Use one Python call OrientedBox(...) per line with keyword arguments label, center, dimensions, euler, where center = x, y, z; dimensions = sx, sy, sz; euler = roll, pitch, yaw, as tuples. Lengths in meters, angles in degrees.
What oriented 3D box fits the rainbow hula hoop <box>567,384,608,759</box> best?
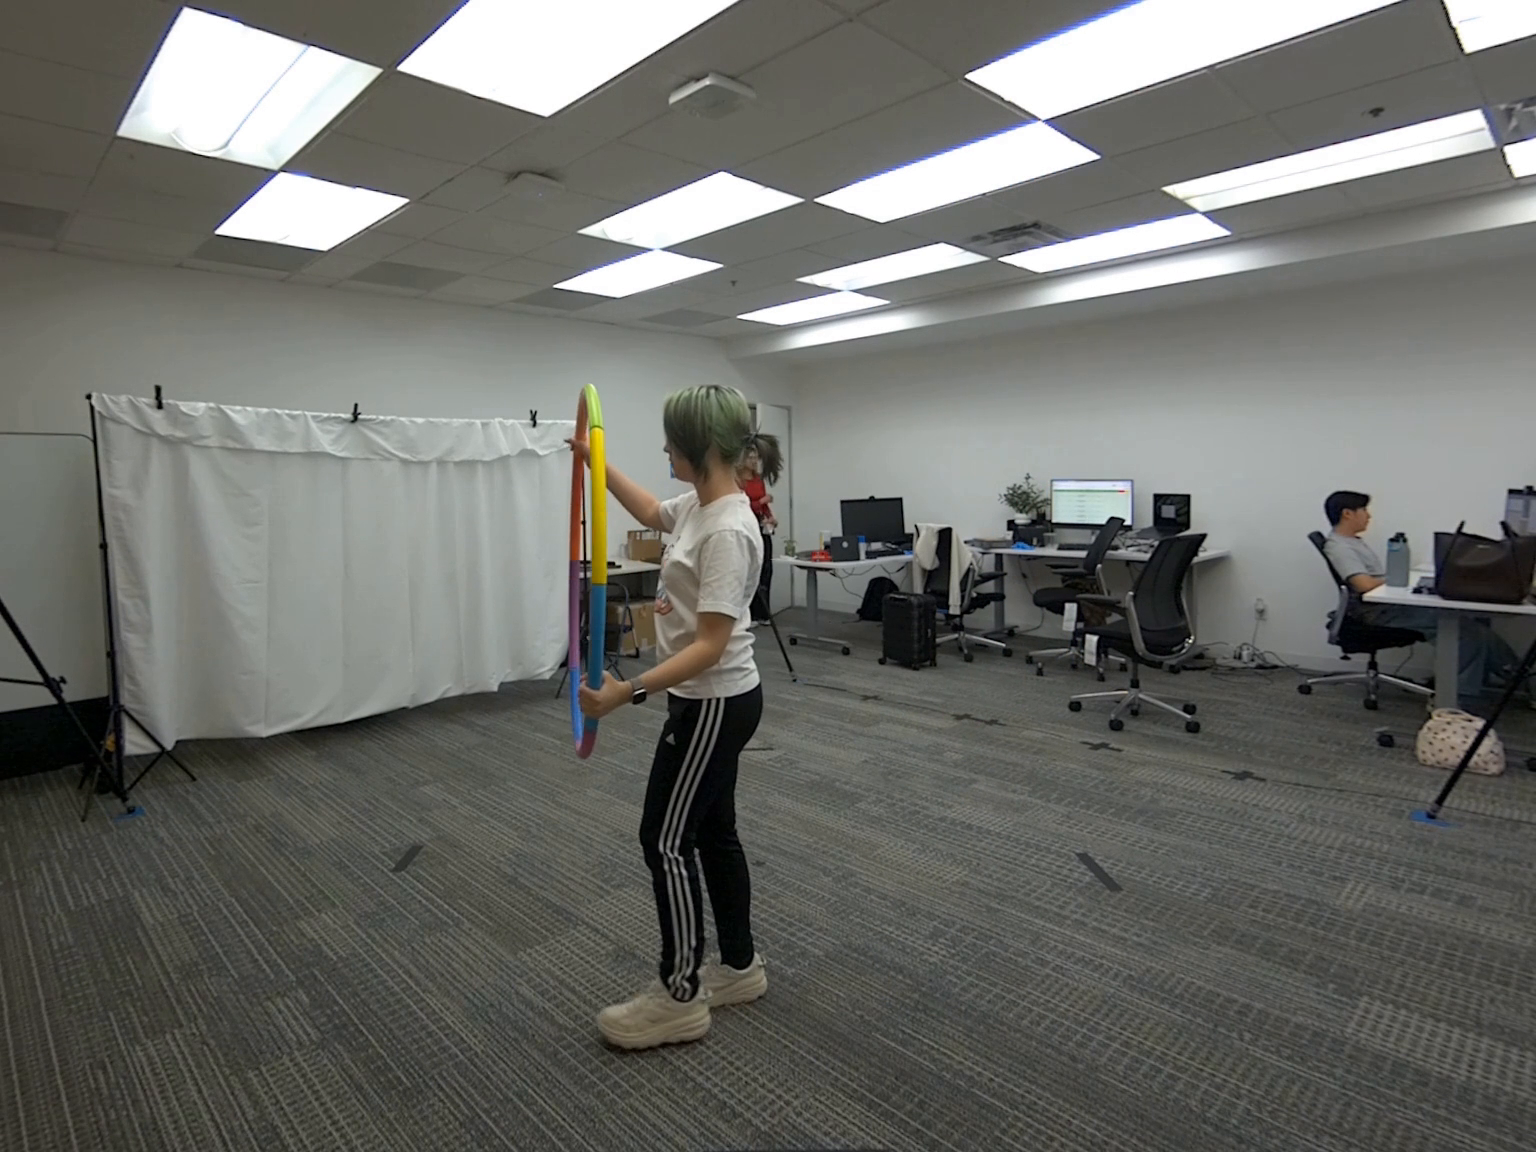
OrientedBox(label="rainbow hula hoop", center=(-0.492, -0.013, 2.290), dimensions=(0.035, 0.976, 0.995), euler=(0, 4, -15))
